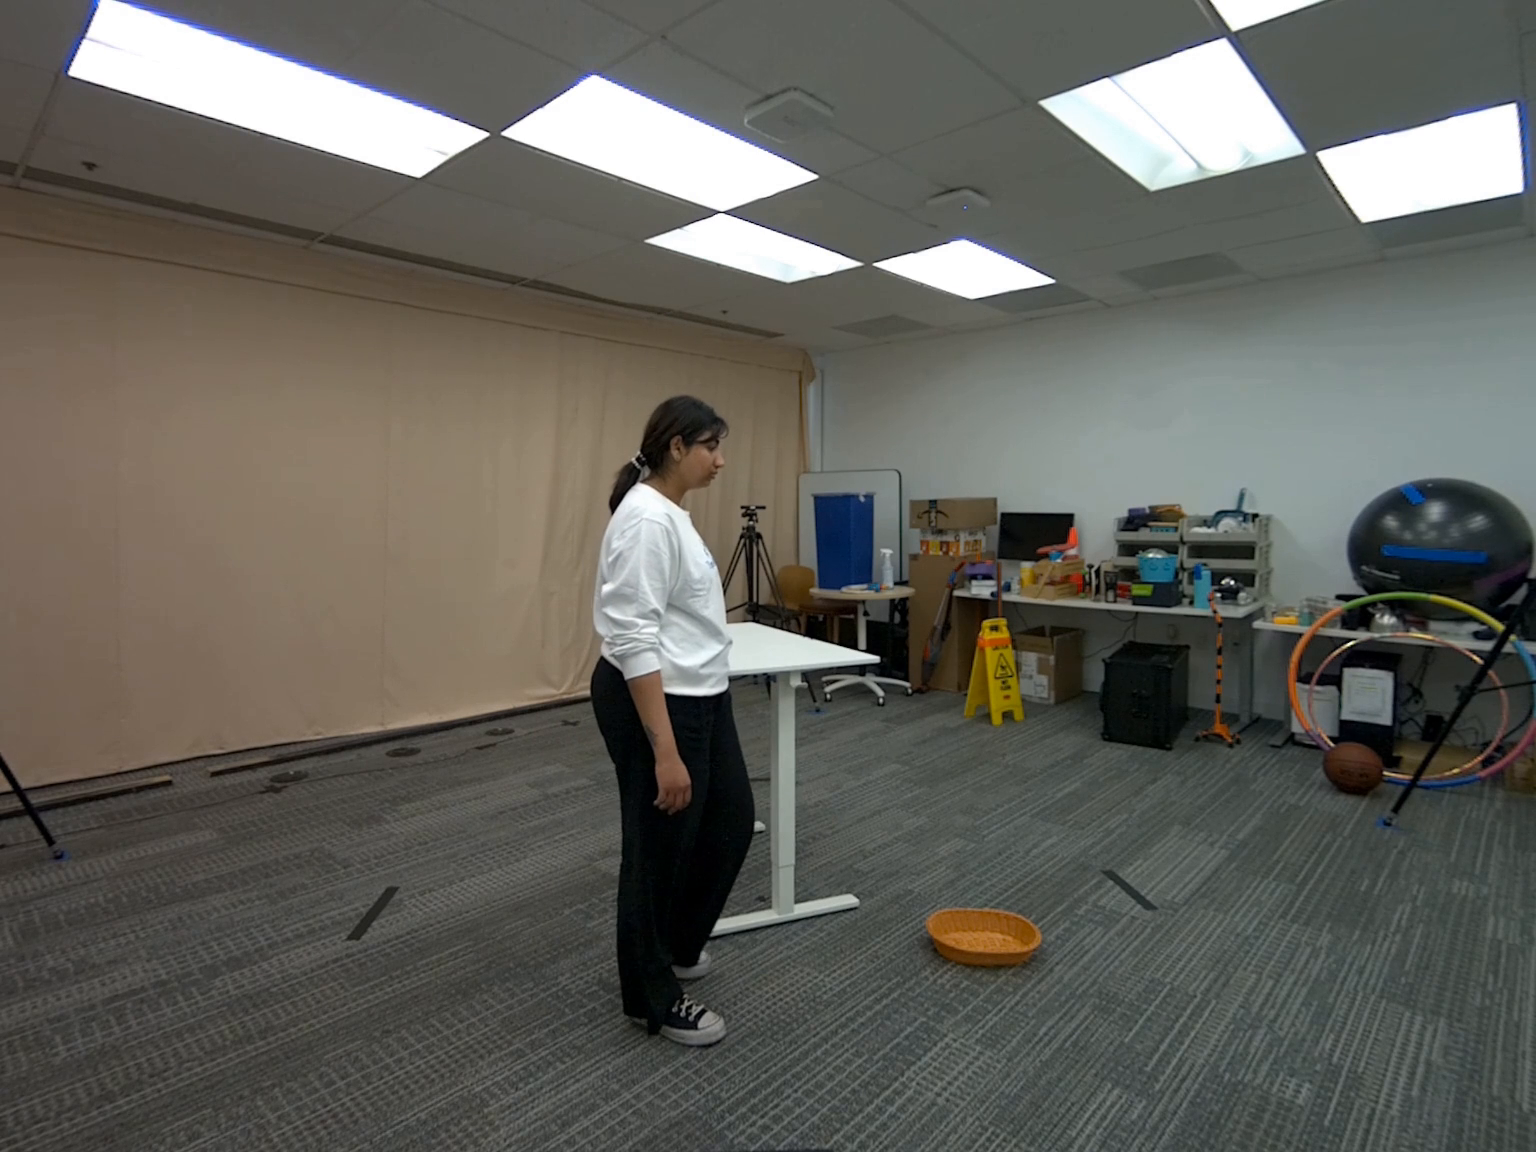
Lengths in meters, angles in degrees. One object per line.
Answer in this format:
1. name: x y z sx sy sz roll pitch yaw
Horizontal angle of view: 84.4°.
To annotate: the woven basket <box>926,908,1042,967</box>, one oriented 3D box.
1. woven basket: 0.679 1.132 2.629 0.352 0.073 0.252 0 6 2
